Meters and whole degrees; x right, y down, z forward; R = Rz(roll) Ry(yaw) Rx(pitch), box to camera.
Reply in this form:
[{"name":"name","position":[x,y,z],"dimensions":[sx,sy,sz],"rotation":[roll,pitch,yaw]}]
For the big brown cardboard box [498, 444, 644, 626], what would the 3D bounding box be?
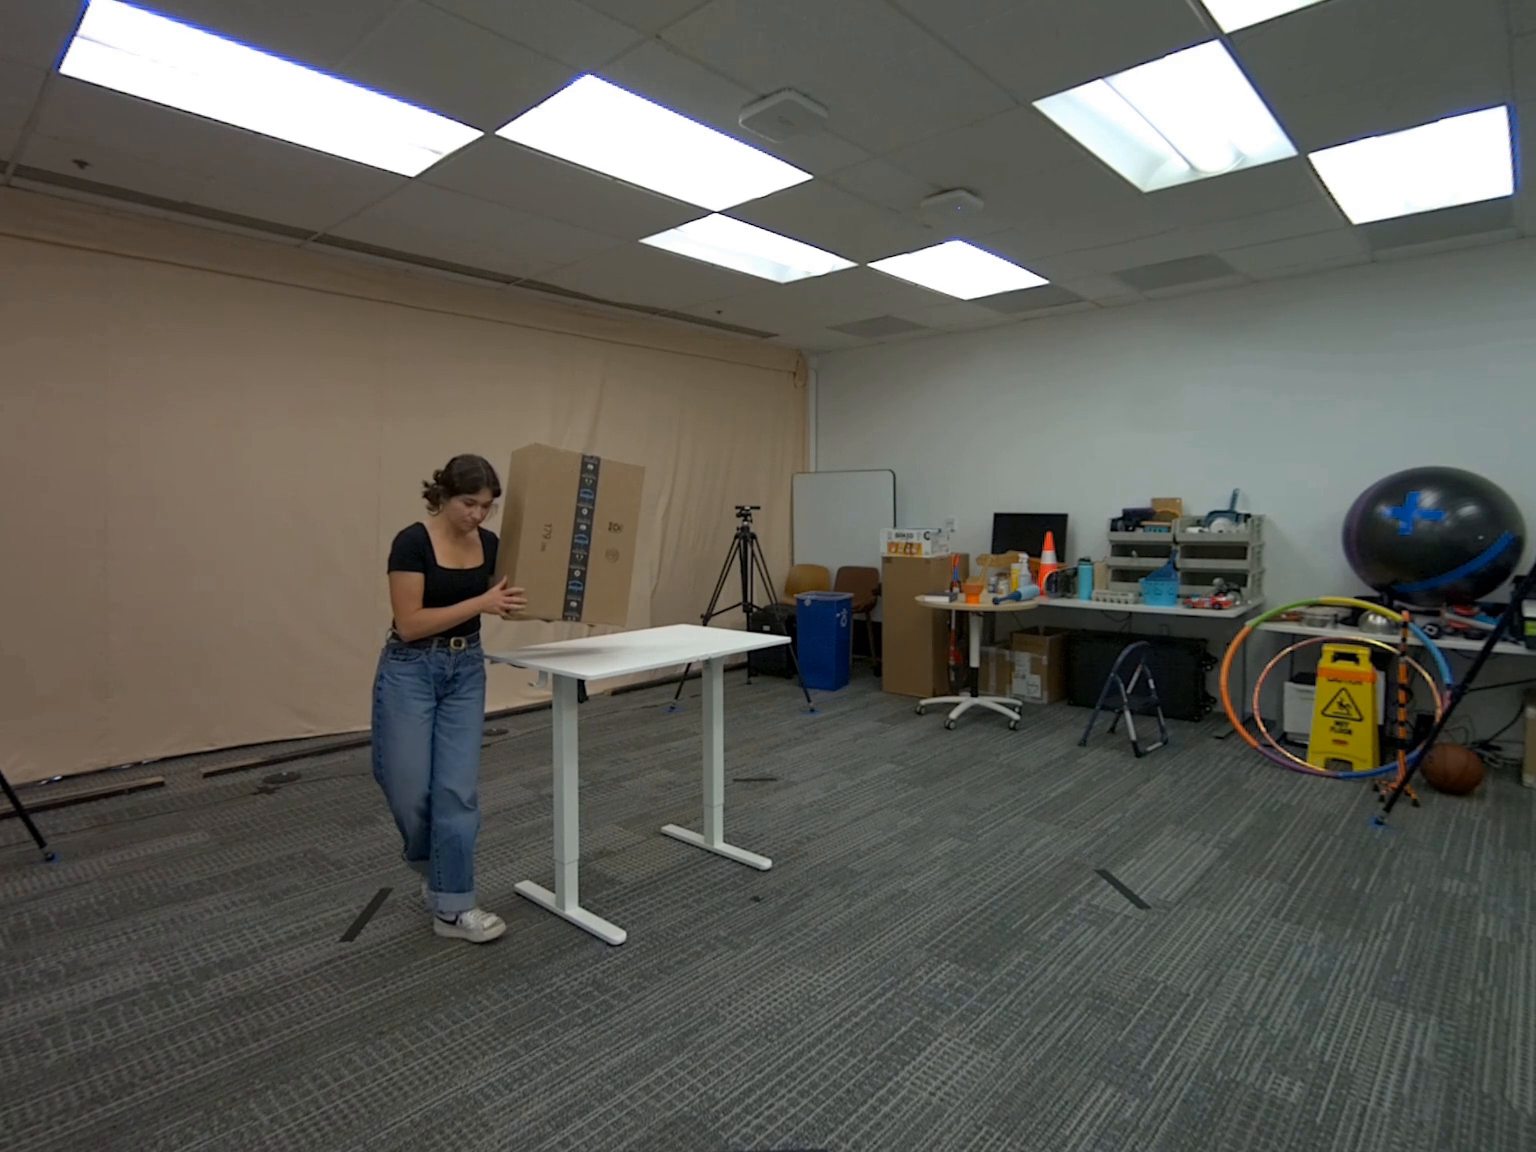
[{"name":"big brown cardboard box","position":[-0.687,-0.125,2.895],"dimensions":[0.404,0.591,0.240],"rotation":[10,-7,-33]}]
